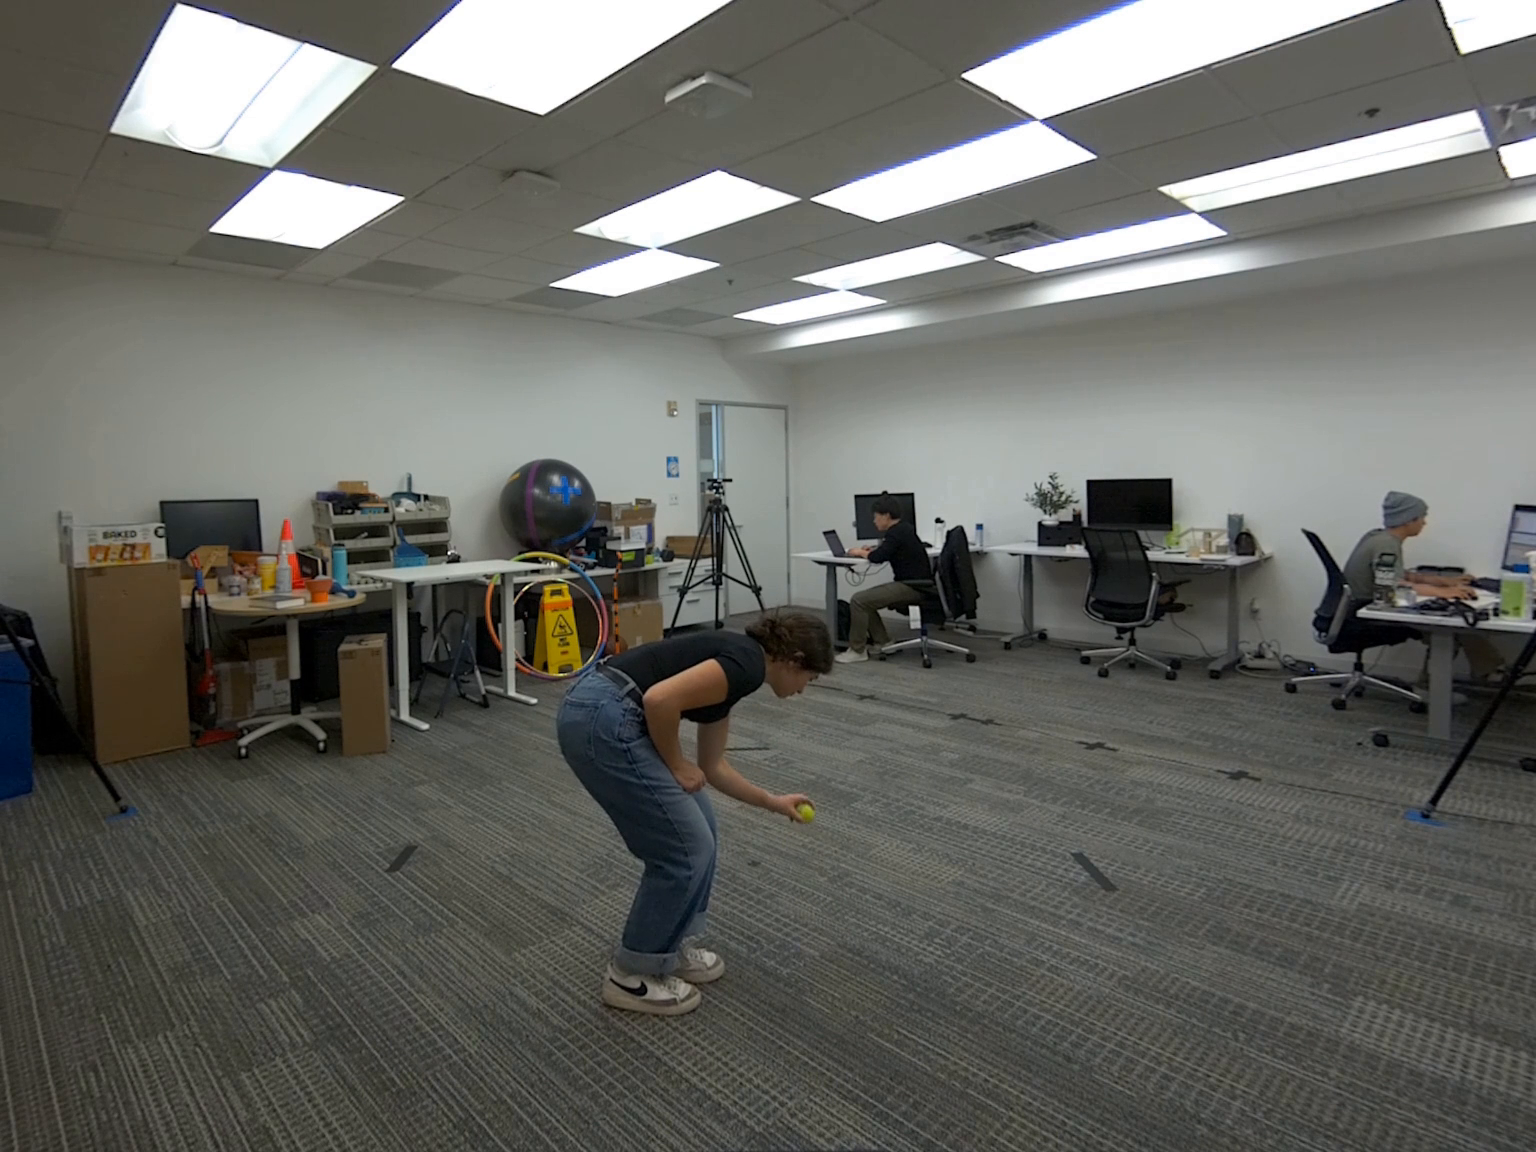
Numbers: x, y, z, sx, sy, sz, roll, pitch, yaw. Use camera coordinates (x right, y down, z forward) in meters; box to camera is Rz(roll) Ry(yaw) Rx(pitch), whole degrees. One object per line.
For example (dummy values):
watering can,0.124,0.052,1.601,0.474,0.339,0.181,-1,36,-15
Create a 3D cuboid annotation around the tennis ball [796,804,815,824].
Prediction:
tennis ball,0.107,0.708,2.626,0.066,0.066,0.067,-1,5,-2
